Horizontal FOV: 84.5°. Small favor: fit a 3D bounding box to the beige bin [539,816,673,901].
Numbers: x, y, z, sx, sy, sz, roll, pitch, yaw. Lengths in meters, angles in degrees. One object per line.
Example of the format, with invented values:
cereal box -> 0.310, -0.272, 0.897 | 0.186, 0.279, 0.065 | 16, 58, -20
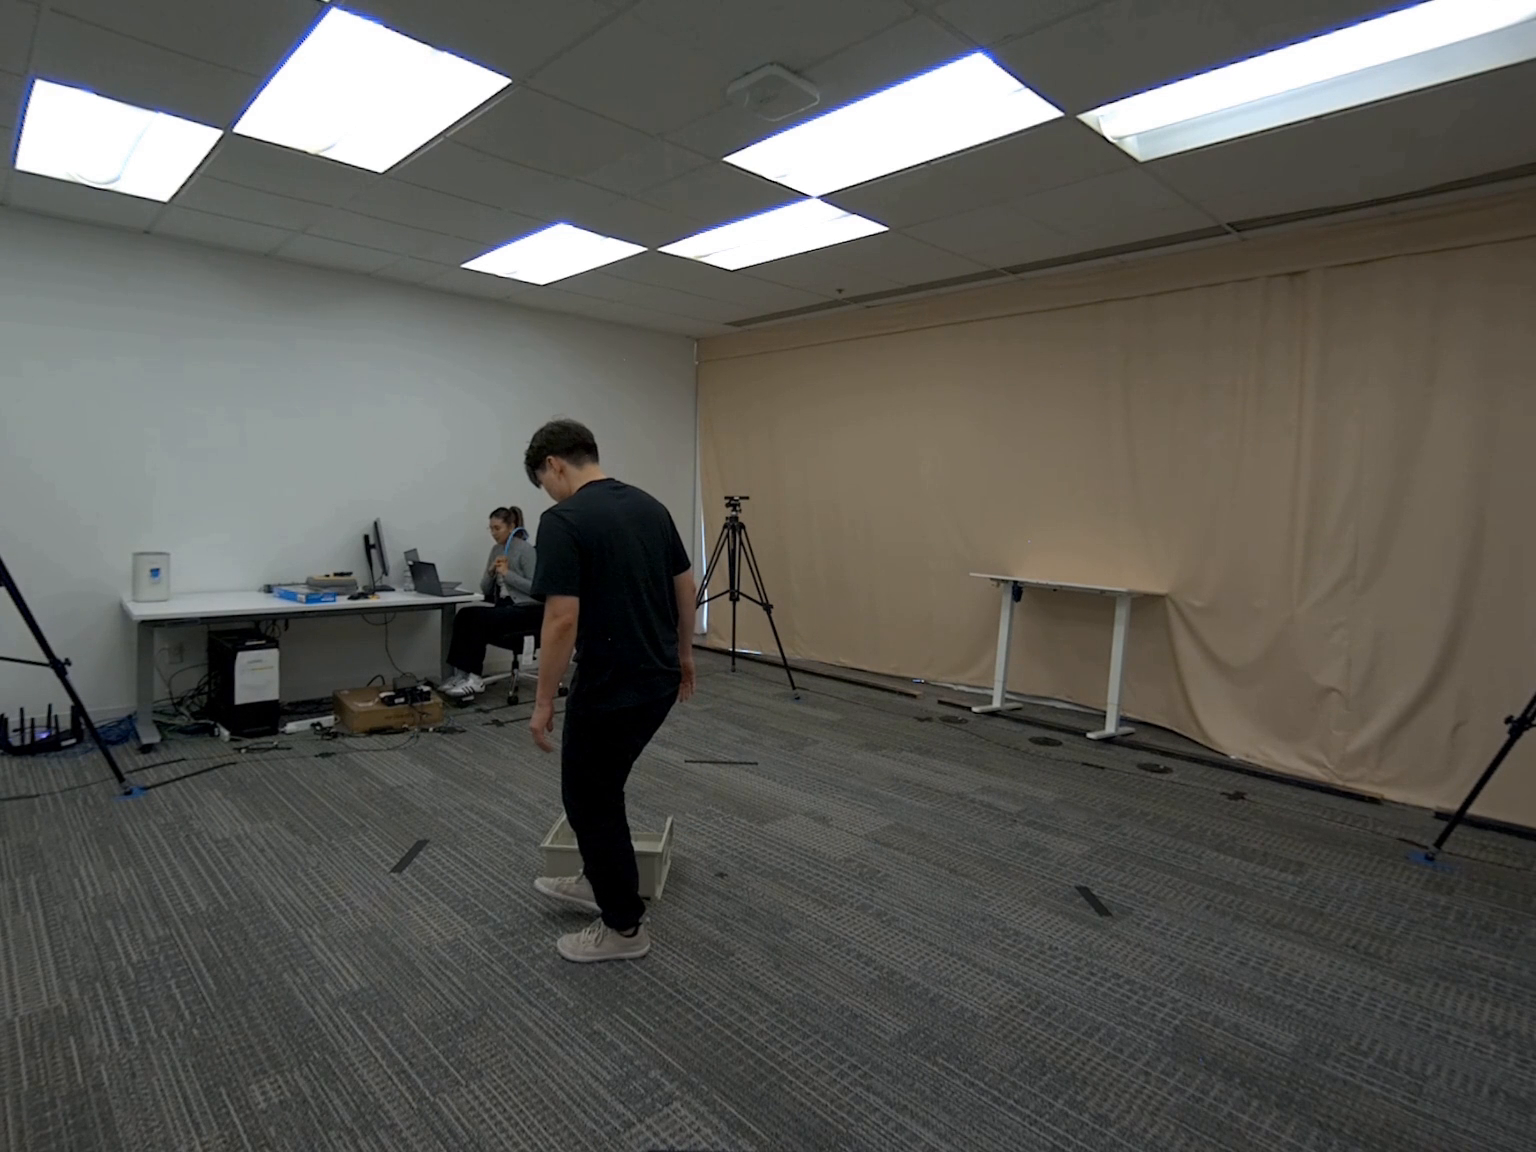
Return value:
beige bin -> -0.582, 1.010, 3.075 | 0.423, 0.188, 0.378 | 3, 6, 2
